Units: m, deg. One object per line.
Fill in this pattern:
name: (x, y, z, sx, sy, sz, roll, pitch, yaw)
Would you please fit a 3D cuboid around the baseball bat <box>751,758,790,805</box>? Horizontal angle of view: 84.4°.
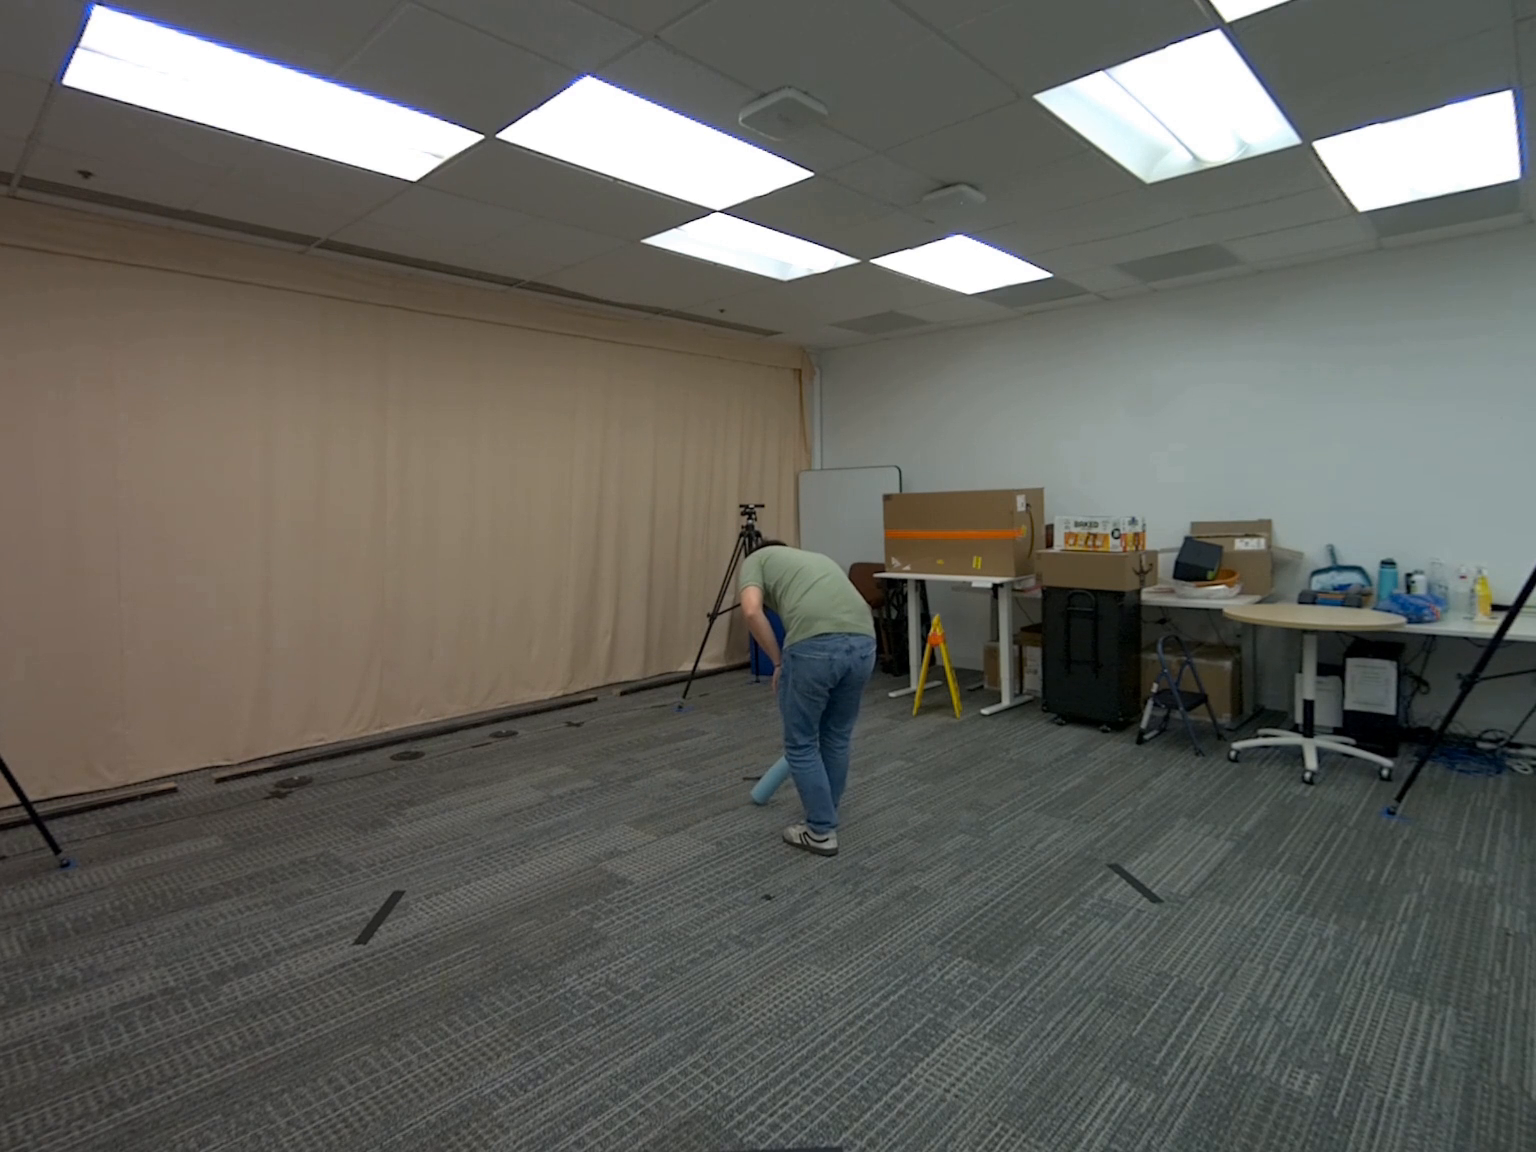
baseball bat: (0.119, 0.836, 3.884, 0.088, 0.544, 0.090, 37, 9, -9)
